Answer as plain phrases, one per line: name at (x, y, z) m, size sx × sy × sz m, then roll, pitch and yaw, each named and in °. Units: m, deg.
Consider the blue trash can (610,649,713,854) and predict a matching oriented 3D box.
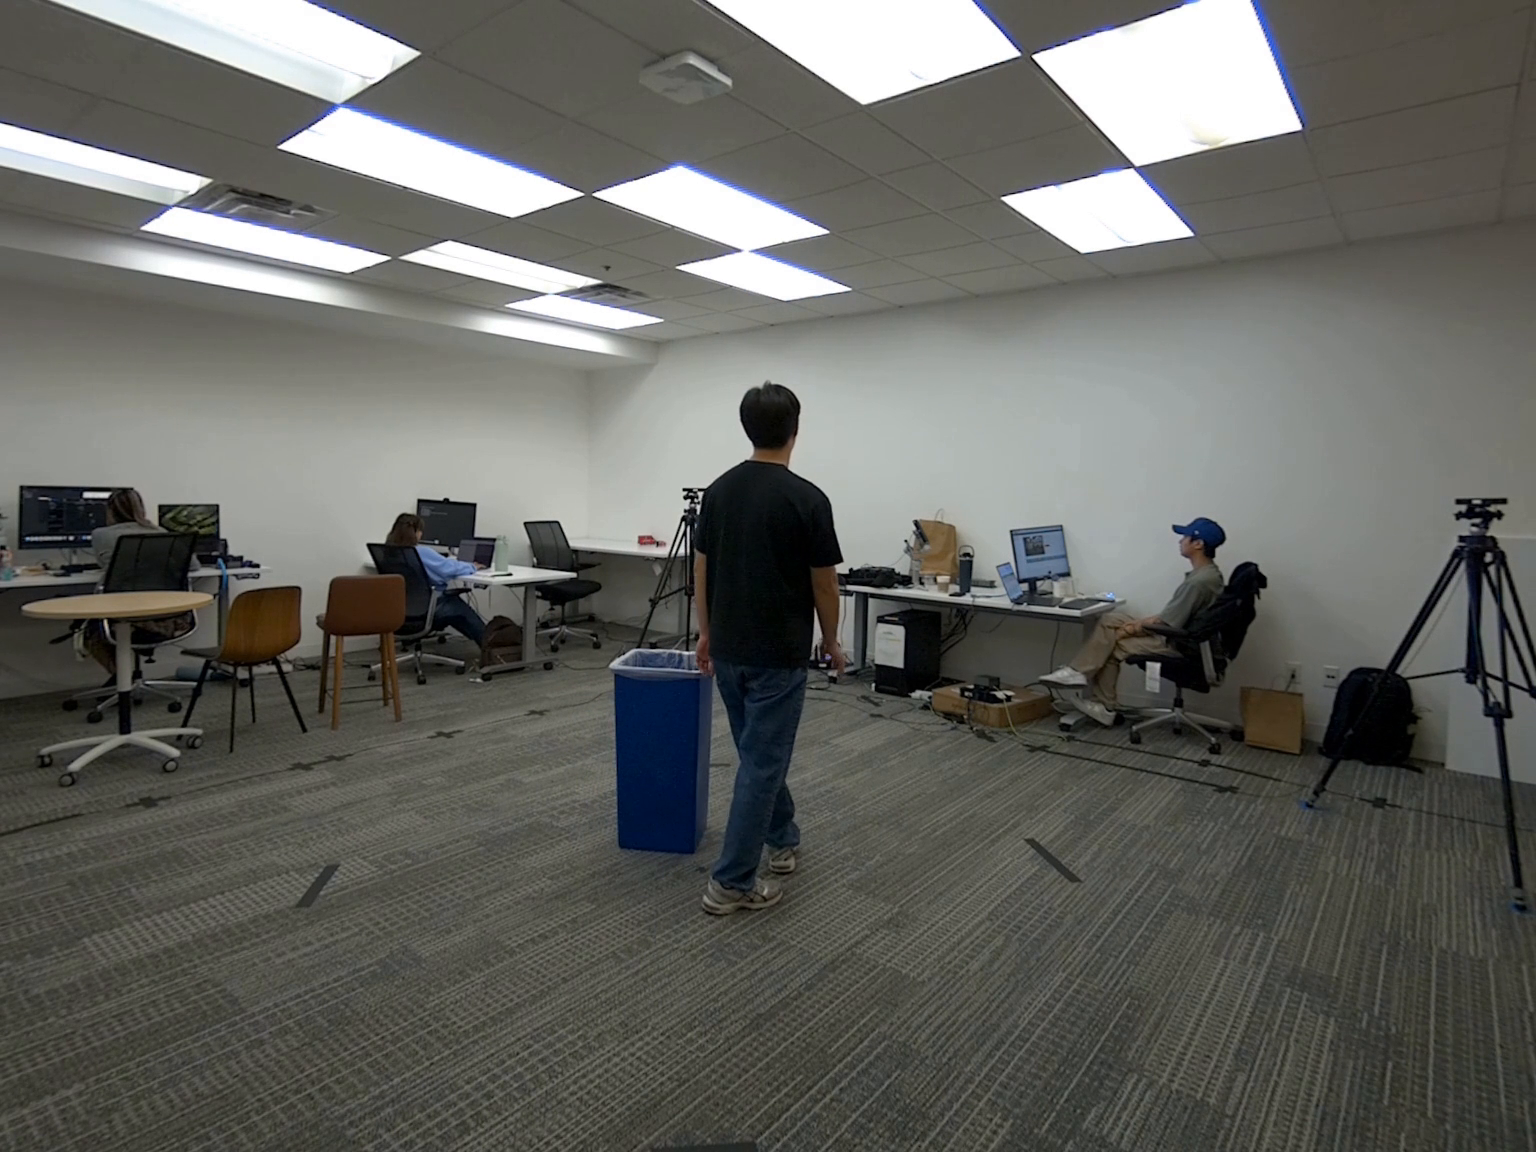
blue trash can at (-0.428, 0.680, 3.391) m, size 0.382 × 0.710 × 0.372 m, roll 1°, pitch 5°, yaw 8°
